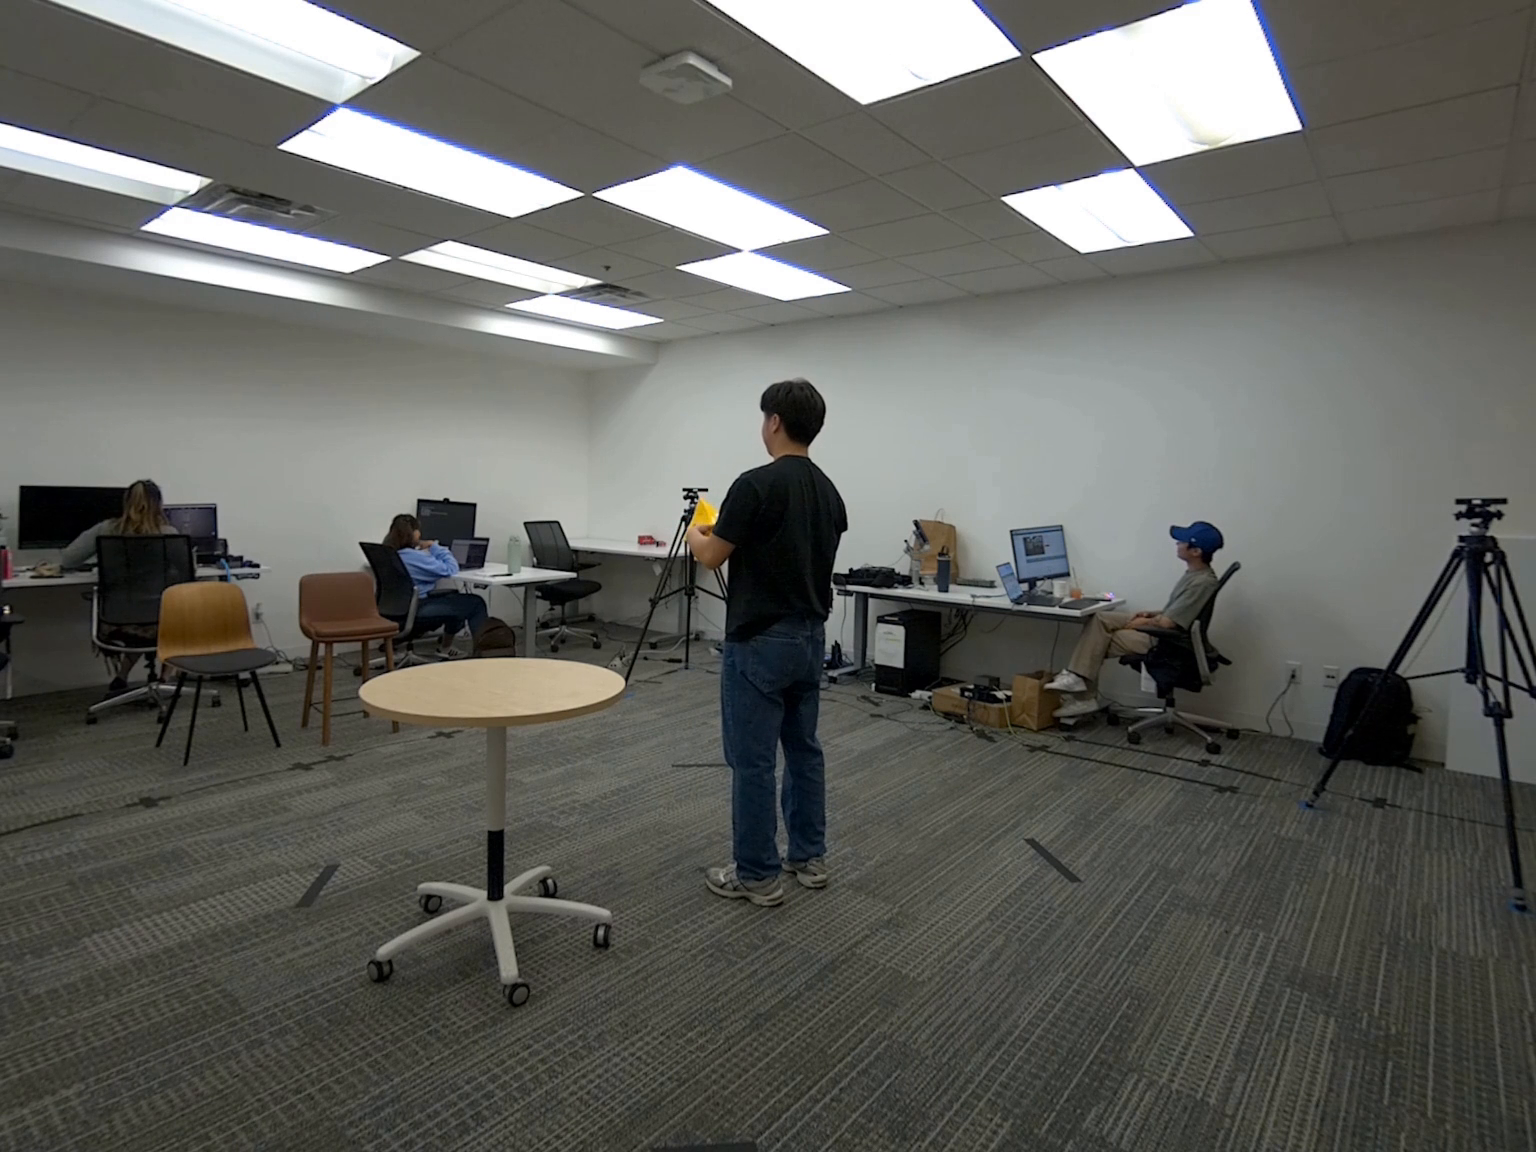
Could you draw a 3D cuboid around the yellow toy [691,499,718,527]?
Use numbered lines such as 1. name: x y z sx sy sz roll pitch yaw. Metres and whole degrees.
1. yellow toy: -0.212 -0.188 3.246 0.187 0.232 0.210 0 -6 -34
